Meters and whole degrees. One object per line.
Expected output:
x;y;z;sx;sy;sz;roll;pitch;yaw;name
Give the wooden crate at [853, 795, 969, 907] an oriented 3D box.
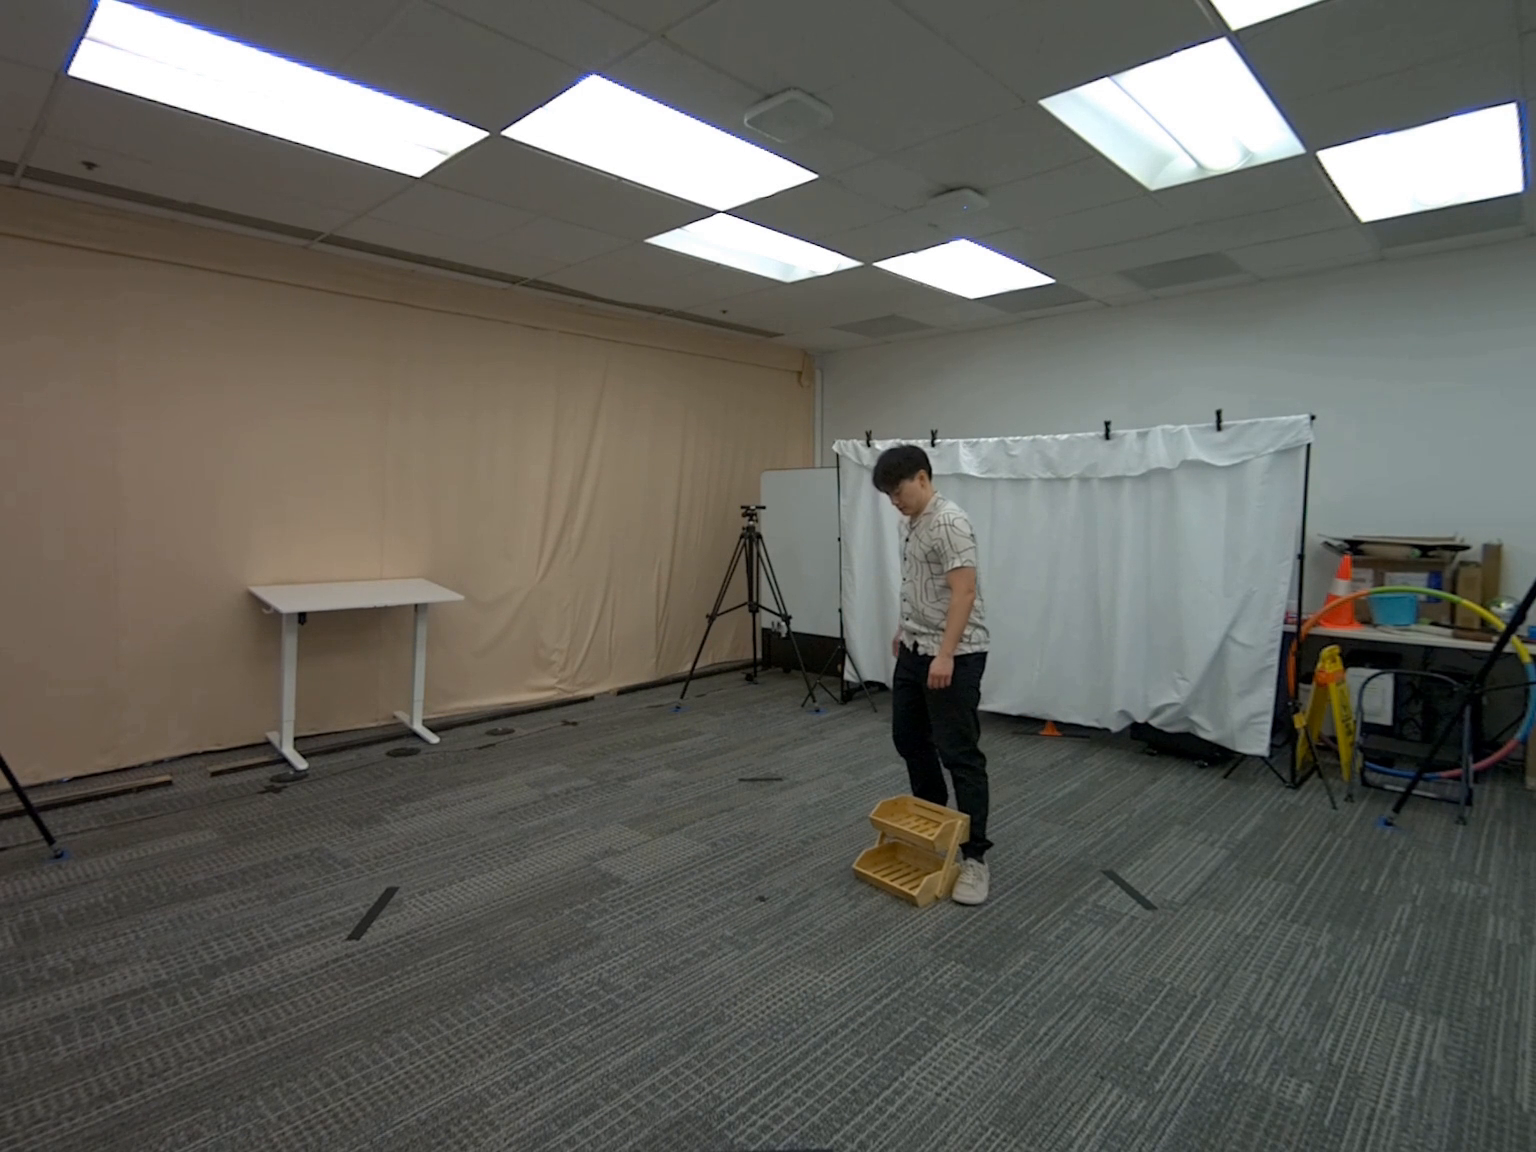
0.525;0.997;3.108;0.293;0.273;0.335;-2;4;-40;wooden crate
